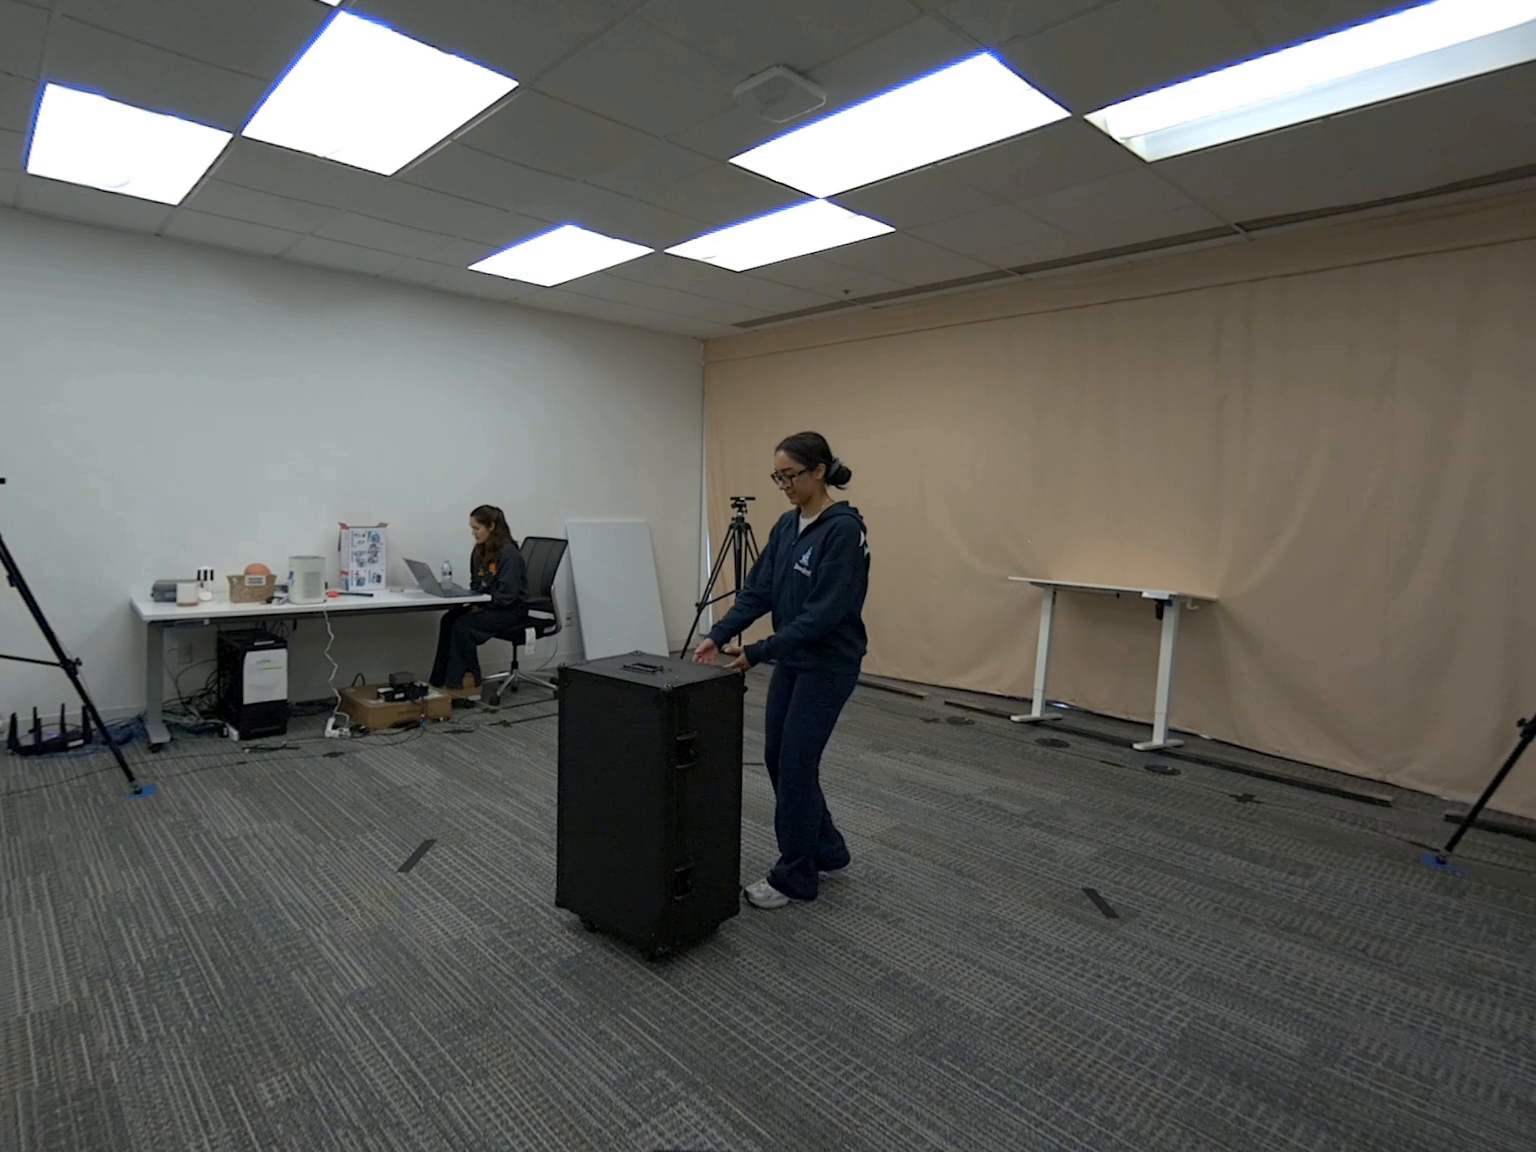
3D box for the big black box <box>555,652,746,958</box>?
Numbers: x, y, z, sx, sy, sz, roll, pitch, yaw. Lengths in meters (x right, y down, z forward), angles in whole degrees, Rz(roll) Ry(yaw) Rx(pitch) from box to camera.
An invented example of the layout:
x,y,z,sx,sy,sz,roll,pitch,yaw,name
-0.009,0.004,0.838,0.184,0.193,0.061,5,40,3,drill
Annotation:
x,y,z,sx,sy,sz,roll,pitch,yaw,name
-0.375,0.725,2.671,0.406,0.859,0.510,4,4,36,big black box
